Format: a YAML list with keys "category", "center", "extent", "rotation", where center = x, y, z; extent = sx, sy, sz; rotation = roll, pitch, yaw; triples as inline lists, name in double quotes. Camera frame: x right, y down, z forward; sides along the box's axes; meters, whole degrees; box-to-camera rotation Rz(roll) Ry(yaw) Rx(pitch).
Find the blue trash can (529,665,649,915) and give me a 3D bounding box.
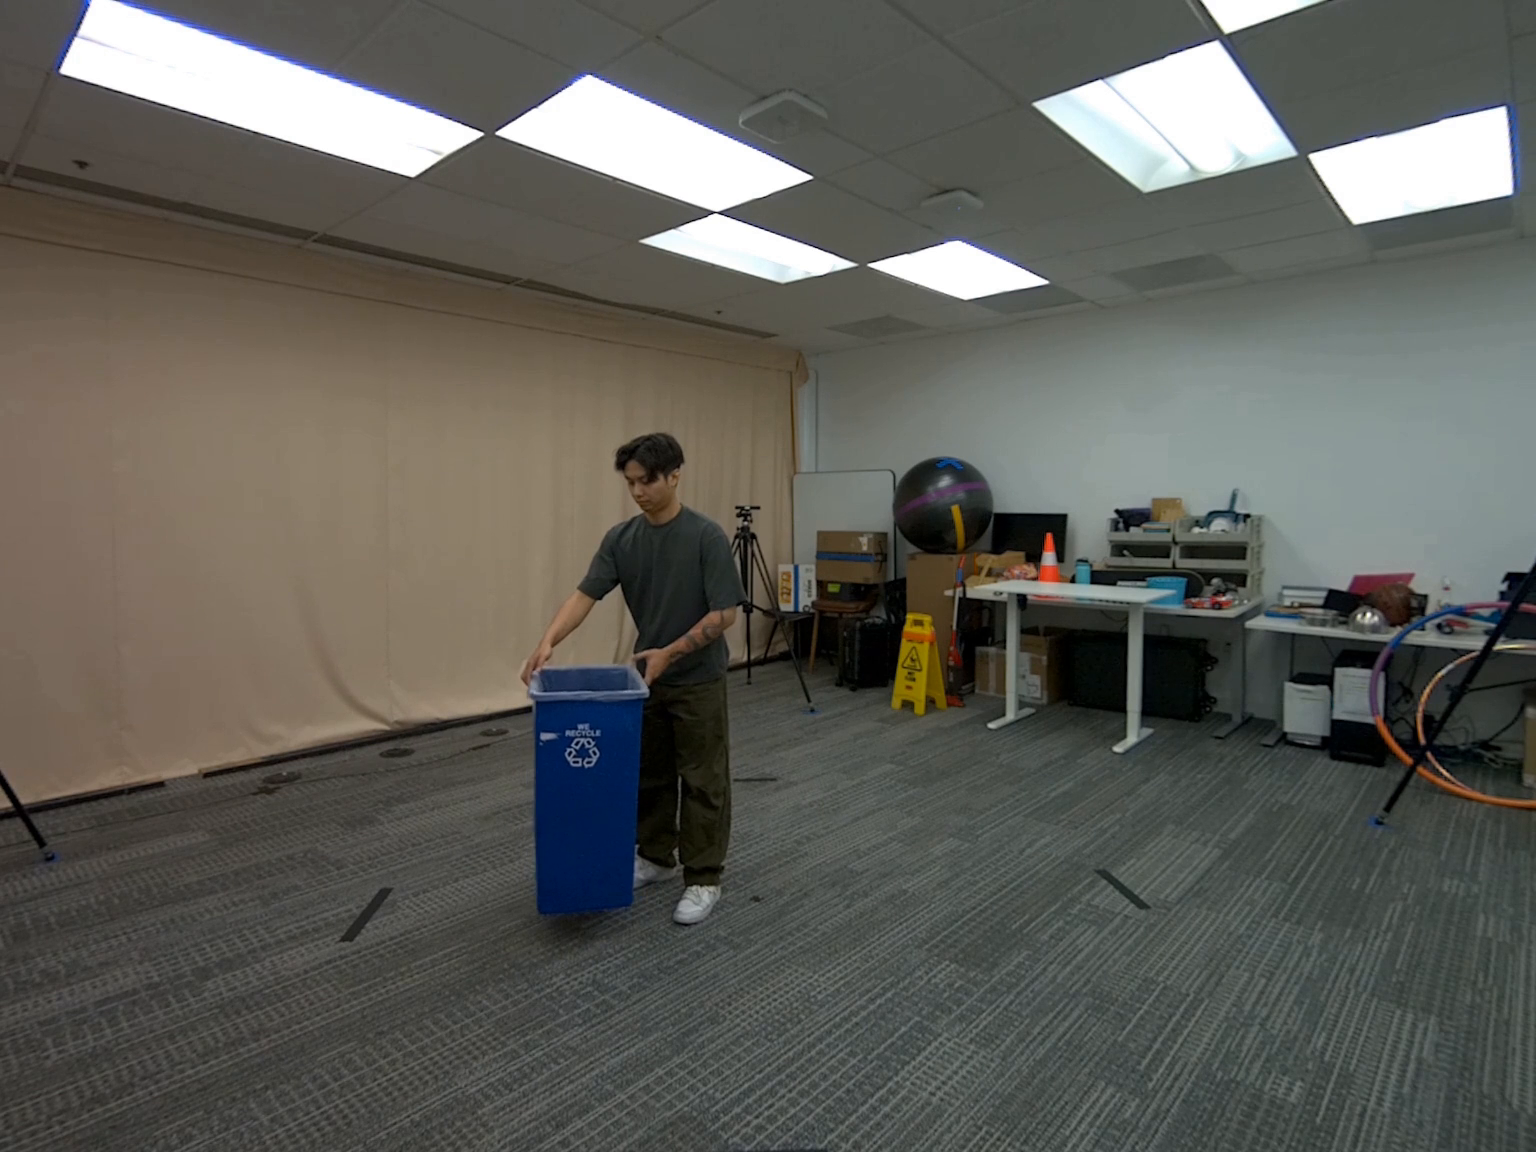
- category: "blue trash can"
  center: [-0.603, 0.689, 2.788]
  extent: [0.370, 0.711, 0.384]
  rotation: [0, 5, -12]
